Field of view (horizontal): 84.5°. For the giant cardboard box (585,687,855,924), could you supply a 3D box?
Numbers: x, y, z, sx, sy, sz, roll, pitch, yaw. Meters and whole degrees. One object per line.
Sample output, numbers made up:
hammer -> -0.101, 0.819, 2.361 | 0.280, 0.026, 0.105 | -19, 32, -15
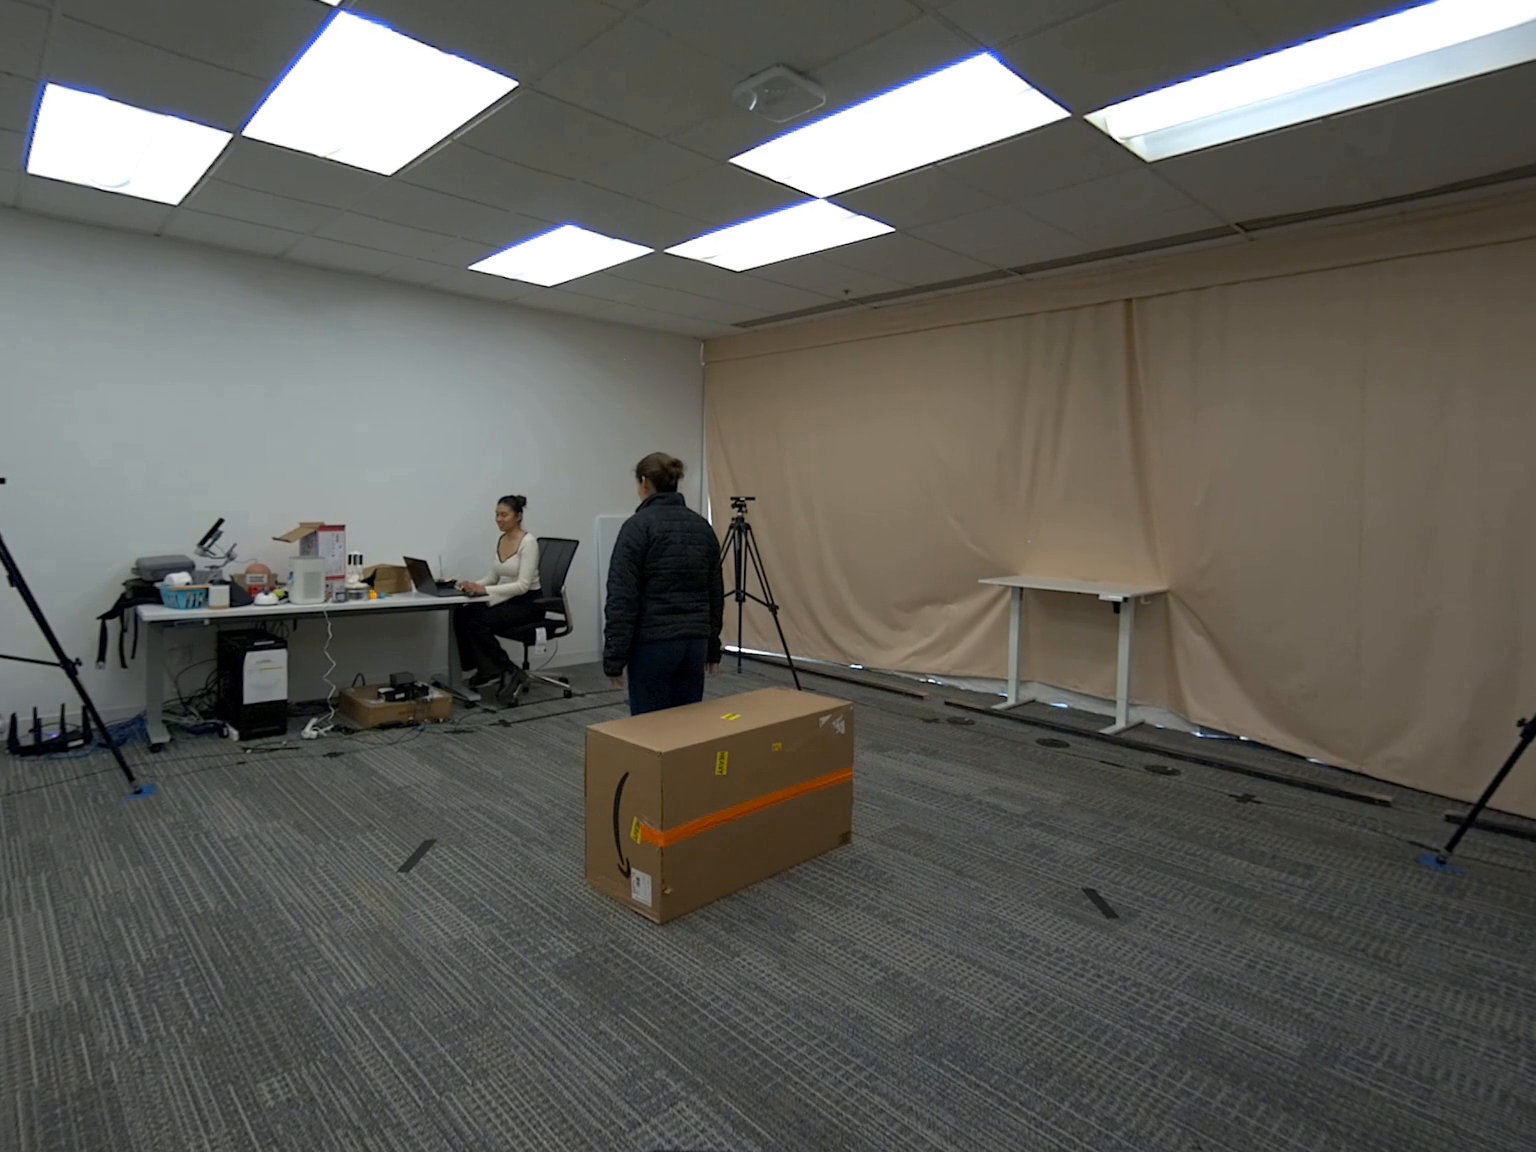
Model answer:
giant cardboard box -> -0.155, 0.813, 3.203 | 0.437, 0.576, 1.003 | 4, 5, 44
